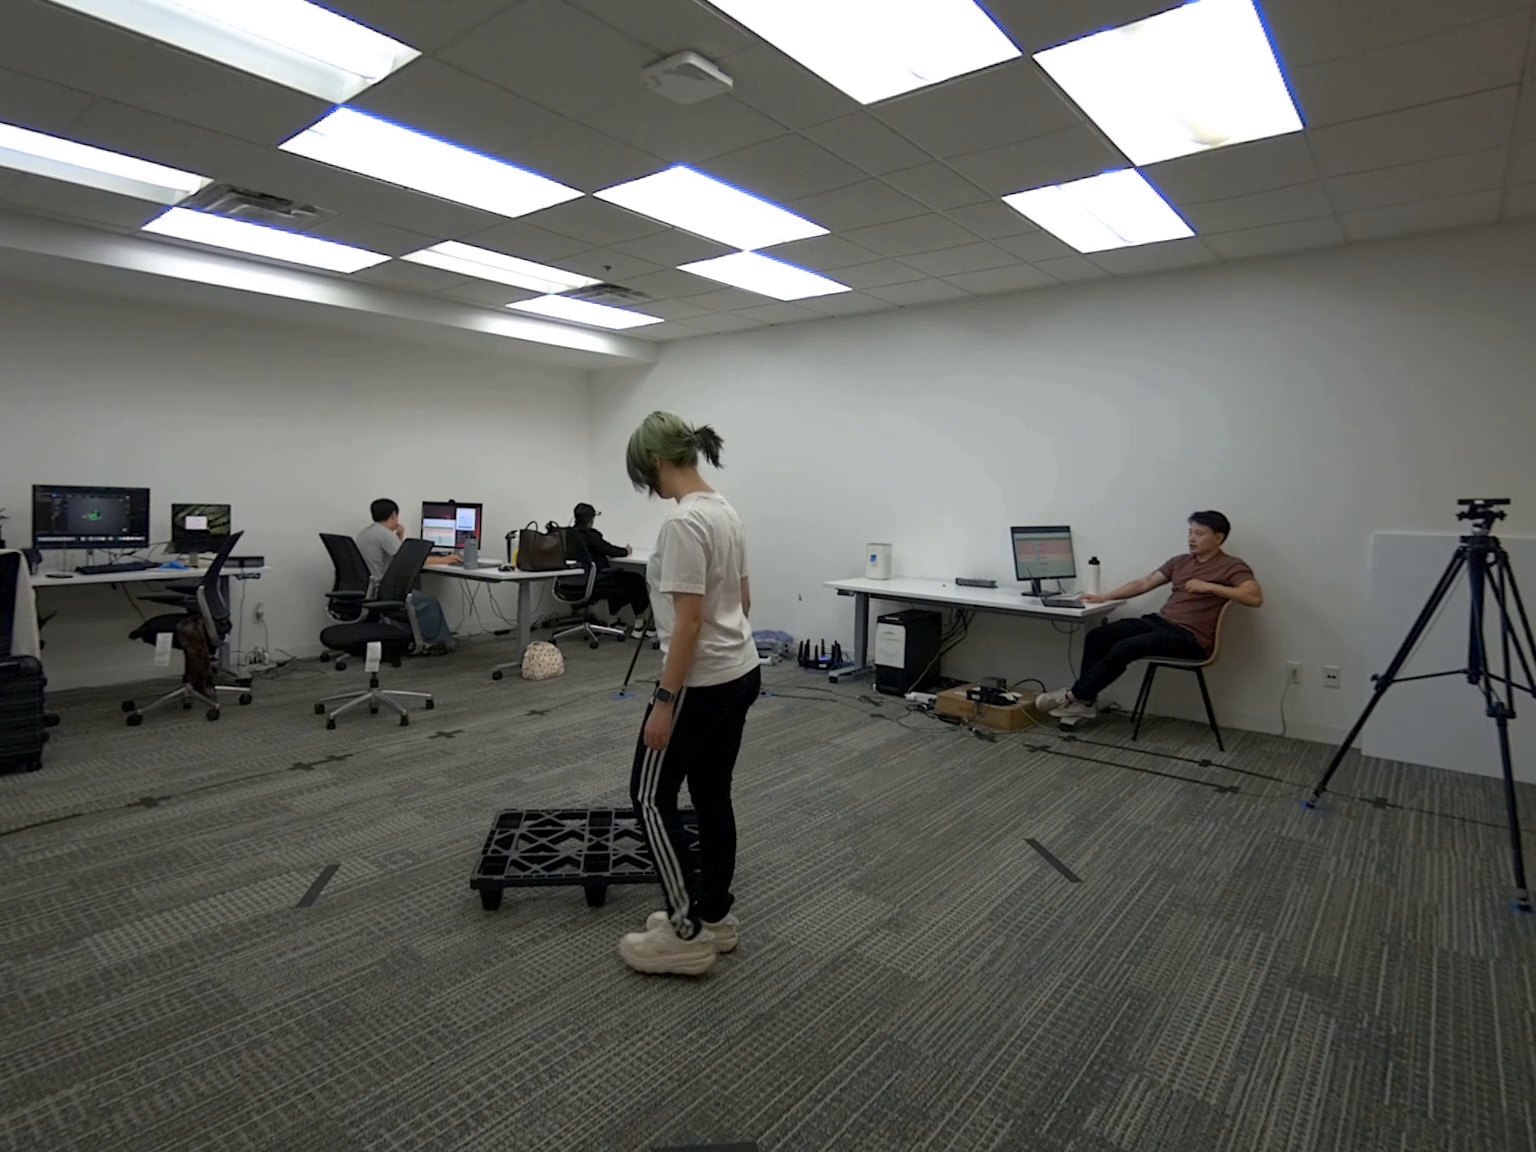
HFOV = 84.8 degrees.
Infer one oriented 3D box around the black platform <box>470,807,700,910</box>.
[{"bbox_3d":[-0.615,1.000,3.040,0.800,0.143,0.612,0,6,-7],"label":"black platform"}]
